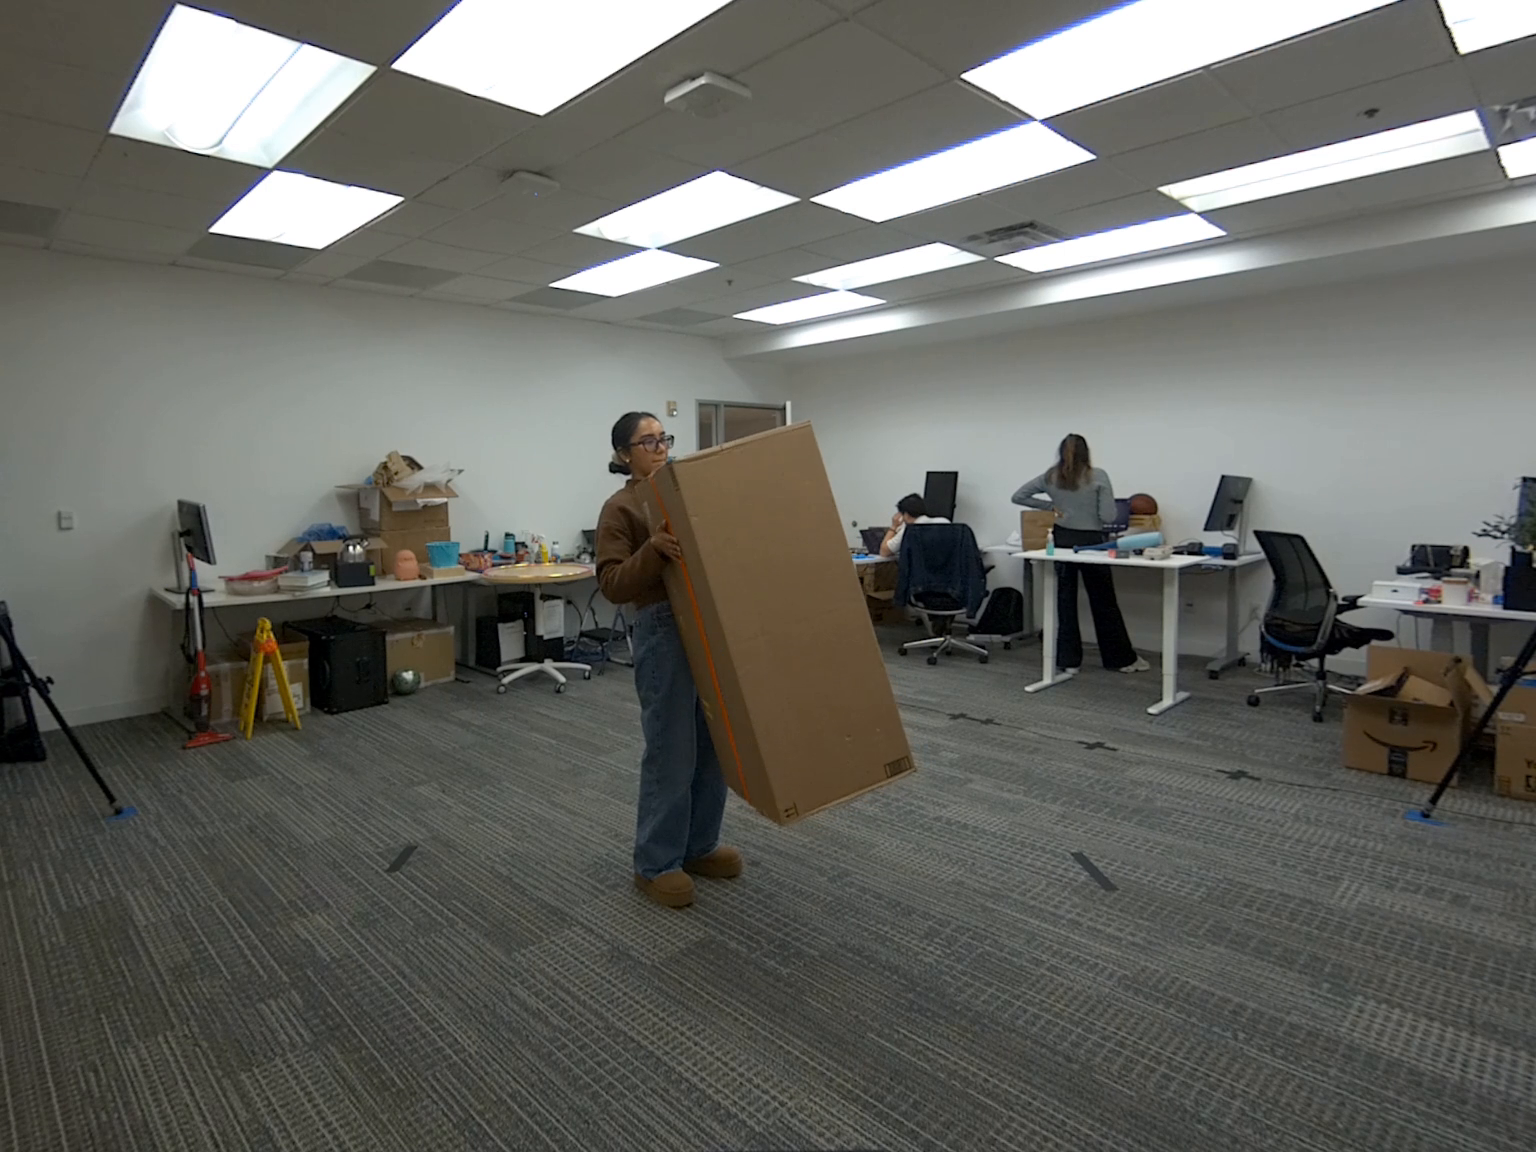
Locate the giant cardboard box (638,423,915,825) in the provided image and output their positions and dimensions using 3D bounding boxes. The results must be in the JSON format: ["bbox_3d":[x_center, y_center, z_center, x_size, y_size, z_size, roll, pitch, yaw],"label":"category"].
[{"bbox_3d":[-0.004,0.130,2.583,0.421,1.025,0.584,-18,1,-18],"label":"giant cardboard box"}]
